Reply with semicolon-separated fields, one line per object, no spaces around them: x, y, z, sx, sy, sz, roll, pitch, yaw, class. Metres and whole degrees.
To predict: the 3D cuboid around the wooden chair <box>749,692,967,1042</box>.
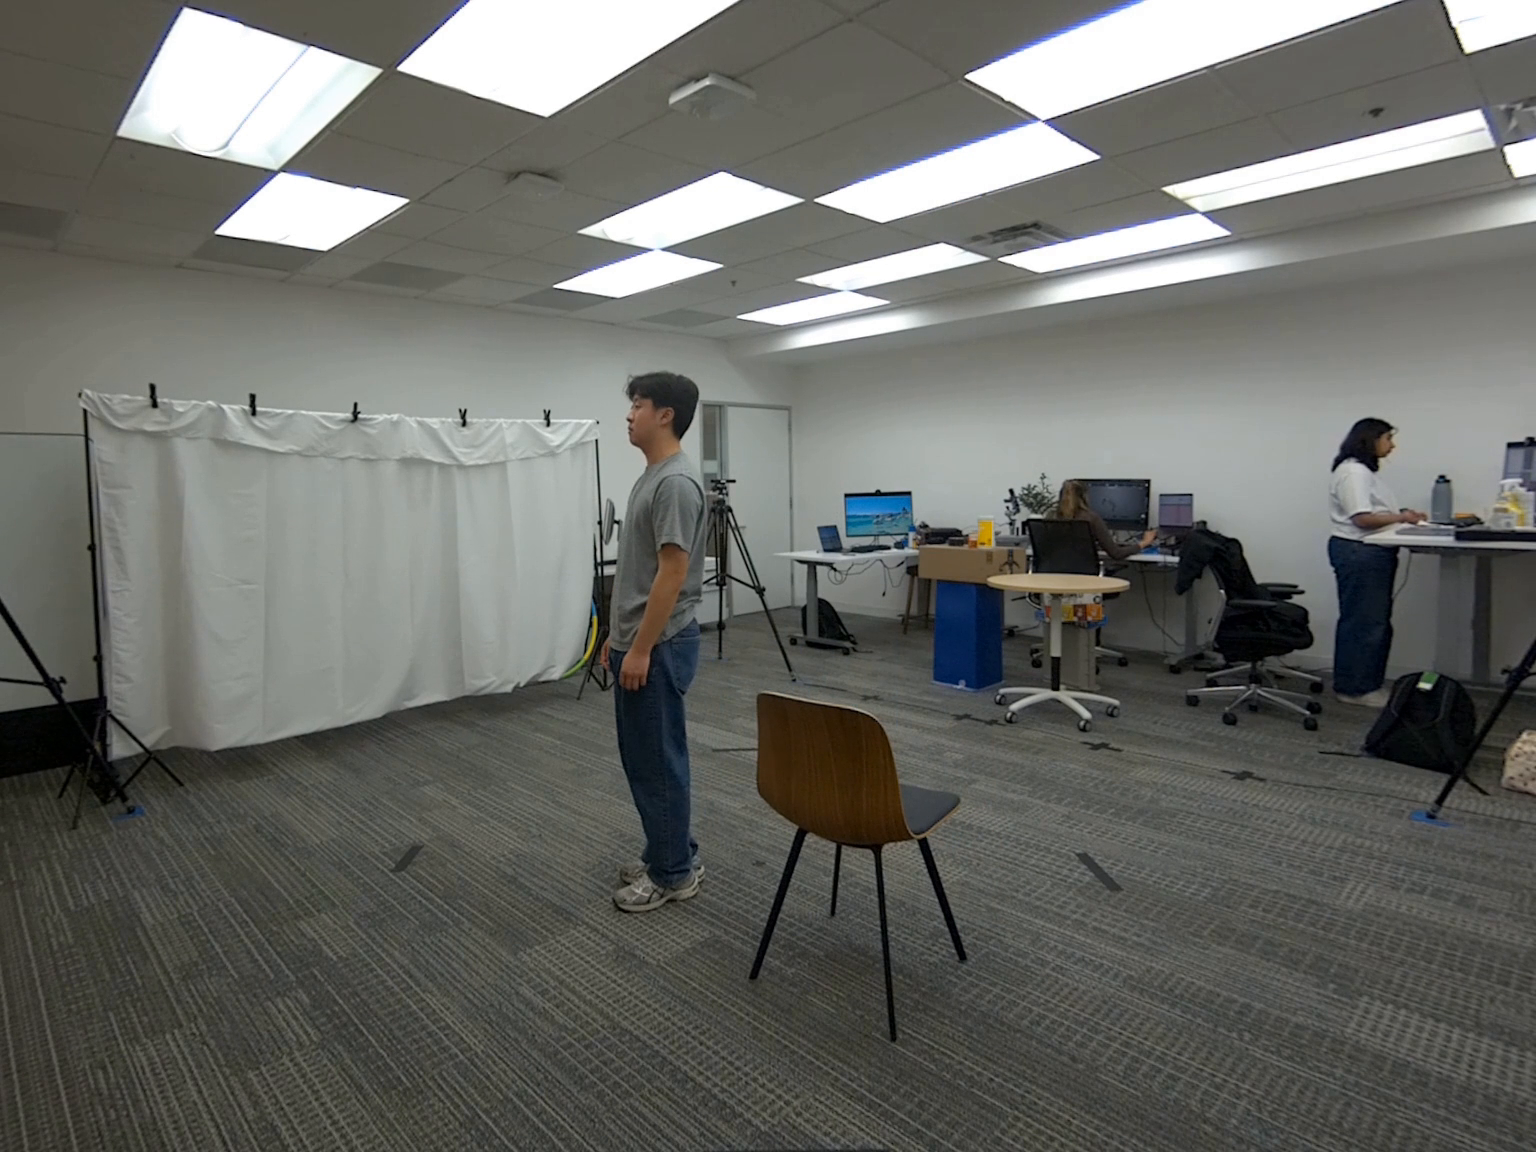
0.262;0.697;2.399;0.492;0.871;0.512;2;9;37;wooden chair
